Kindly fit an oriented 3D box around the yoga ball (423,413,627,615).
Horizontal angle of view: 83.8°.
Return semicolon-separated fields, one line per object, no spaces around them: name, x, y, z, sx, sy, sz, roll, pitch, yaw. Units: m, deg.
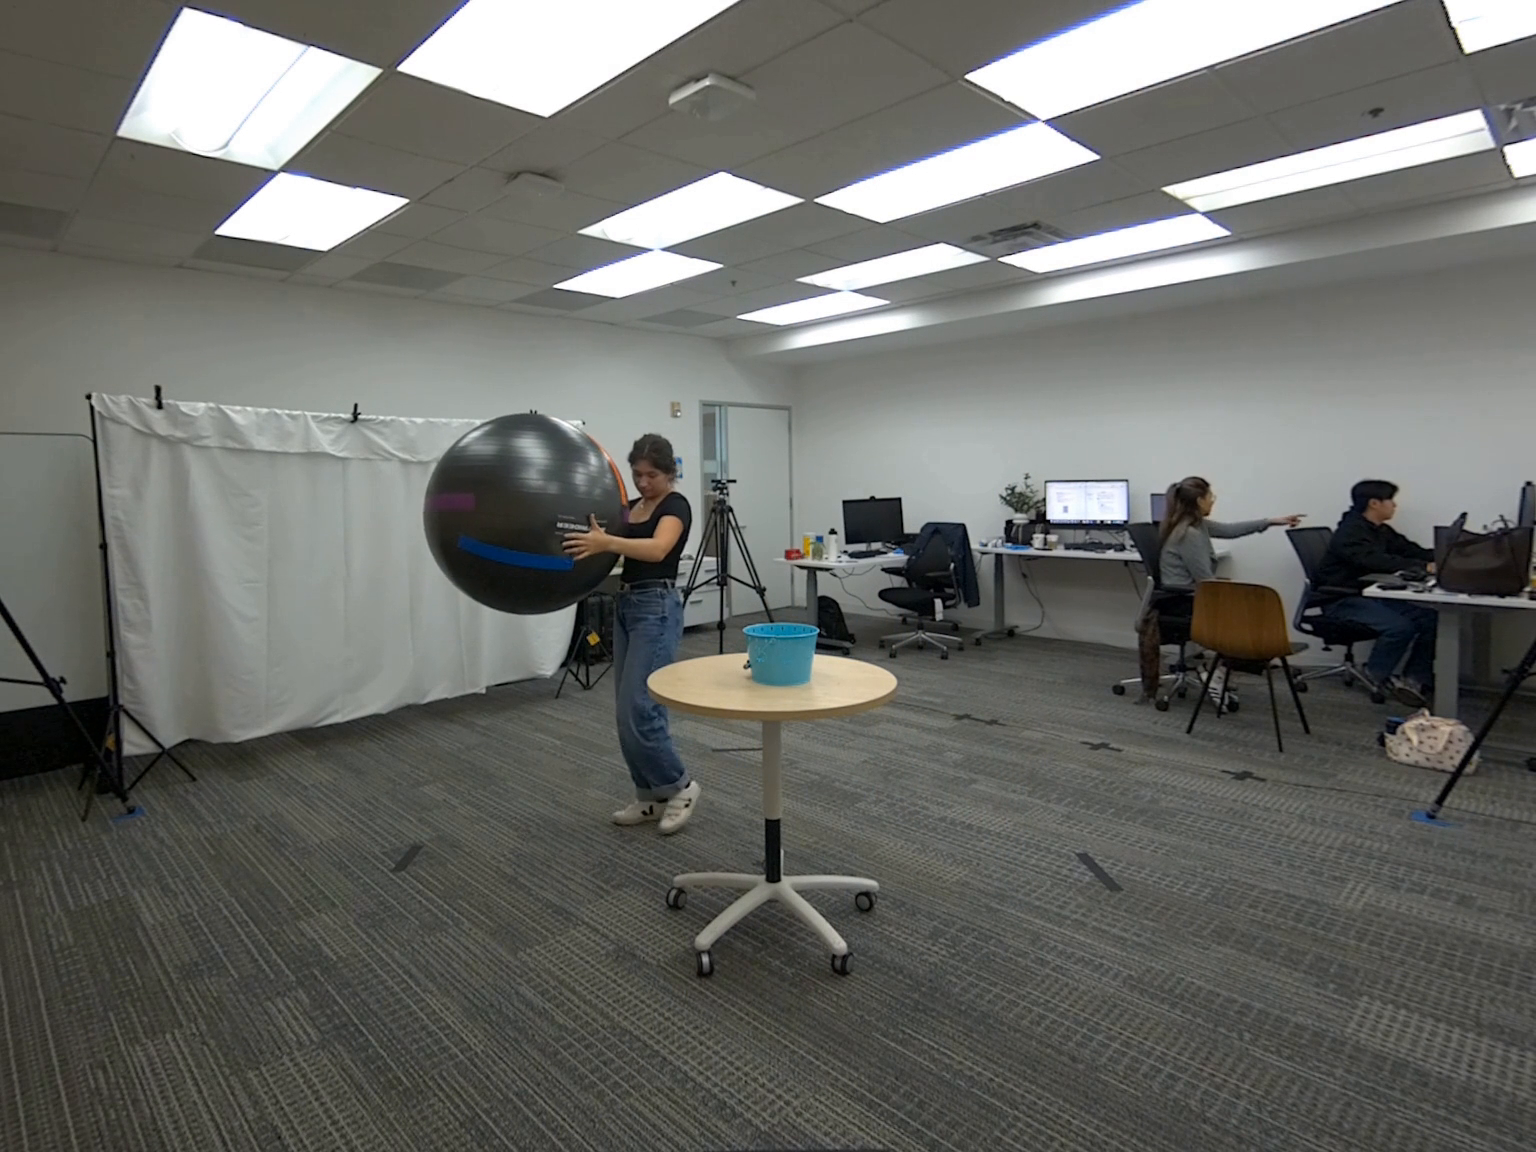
yoga ball;-0.916;-0.233;3.247;0.757;0.755;0.762;-1;5;-2
